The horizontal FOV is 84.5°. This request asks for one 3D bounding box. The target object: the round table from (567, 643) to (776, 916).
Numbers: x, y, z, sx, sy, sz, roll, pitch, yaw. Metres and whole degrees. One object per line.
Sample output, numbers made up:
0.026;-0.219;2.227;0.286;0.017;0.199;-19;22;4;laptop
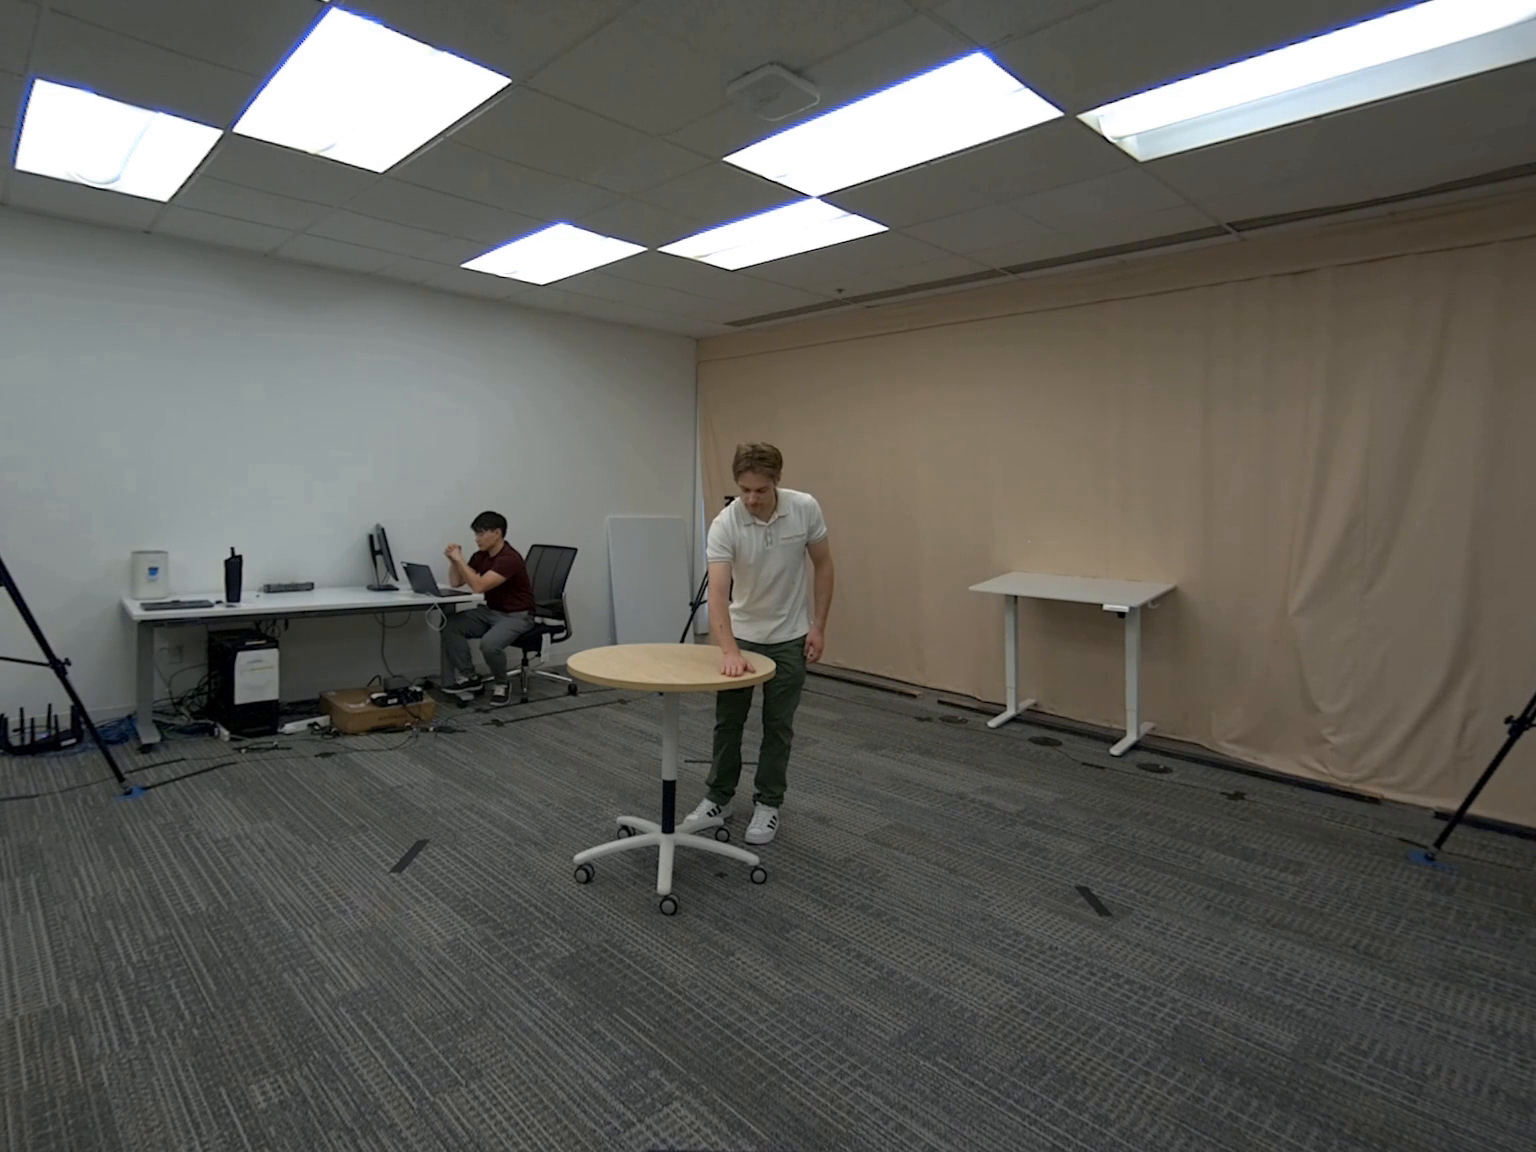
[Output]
-0.385;0.703;3.120;0.784;0.784;0.788;2;4;-1;round table
